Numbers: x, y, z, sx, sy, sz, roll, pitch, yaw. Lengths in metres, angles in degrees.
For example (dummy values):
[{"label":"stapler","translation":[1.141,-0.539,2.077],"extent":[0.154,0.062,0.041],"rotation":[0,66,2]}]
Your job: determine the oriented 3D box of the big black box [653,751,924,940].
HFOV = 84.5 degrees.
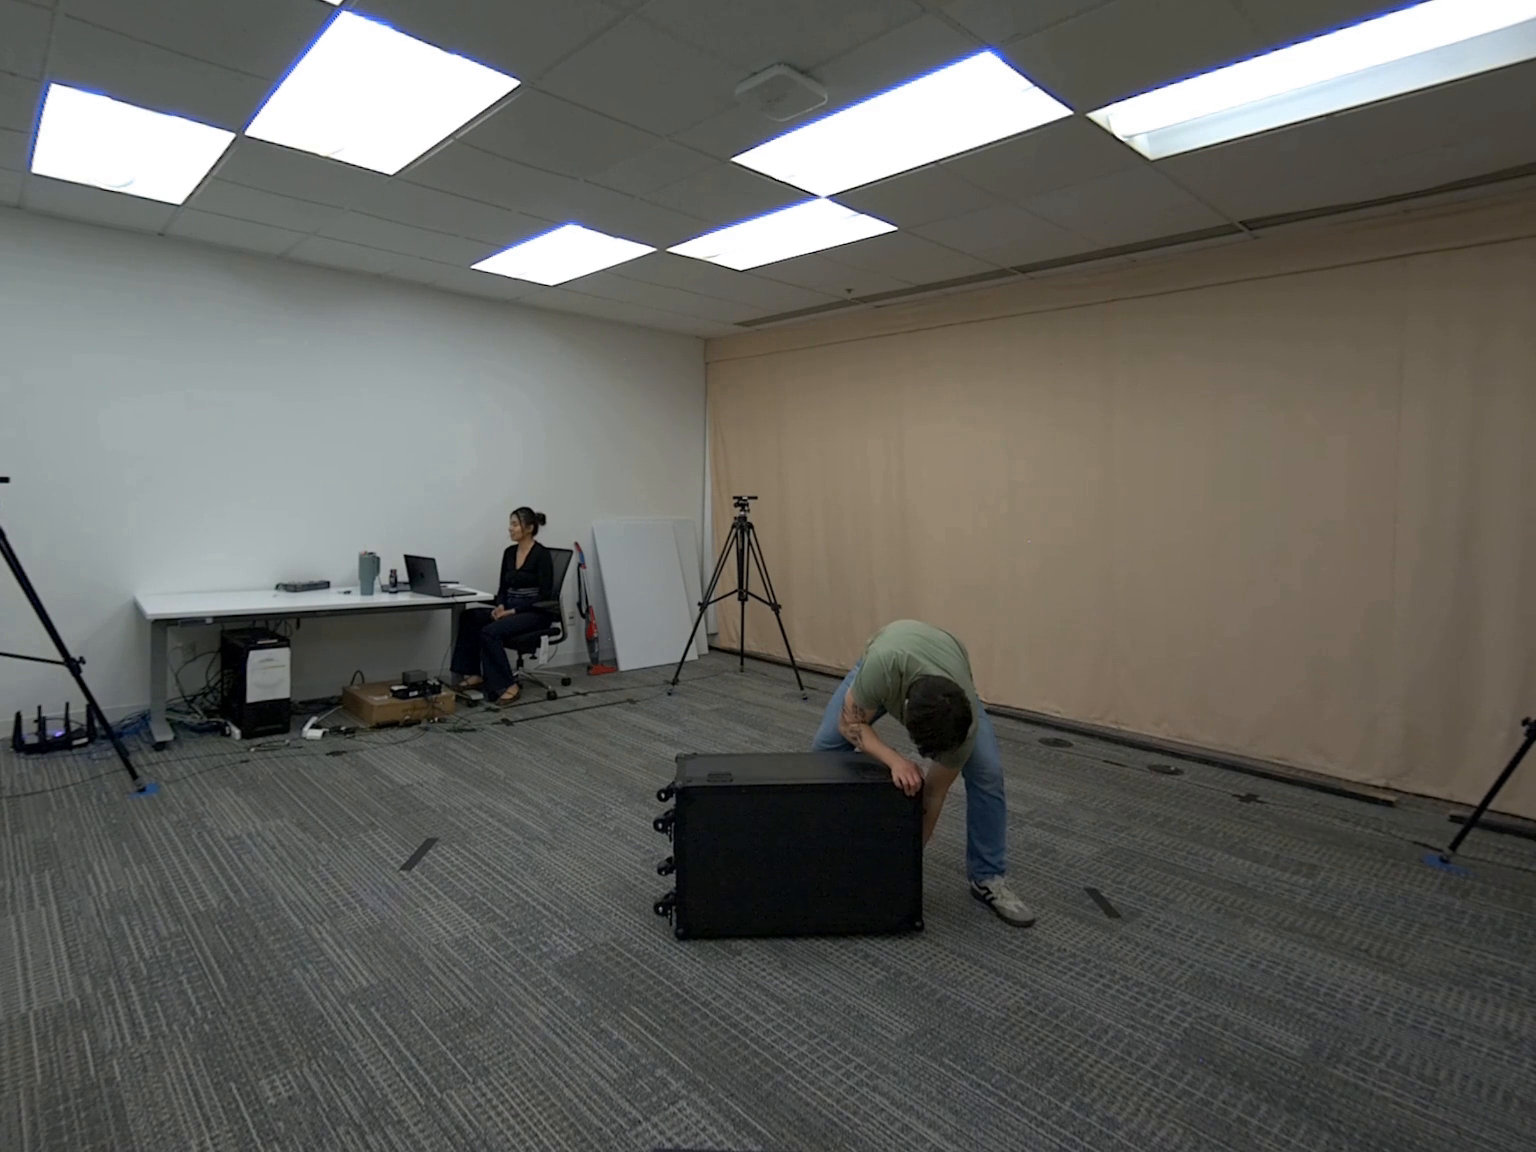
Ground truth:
[{"label":"big black box","translation":[0.045,0.867,2.821],"extent":[0.859,0.520,0.398],"rotation":[0,3,-4]}]
